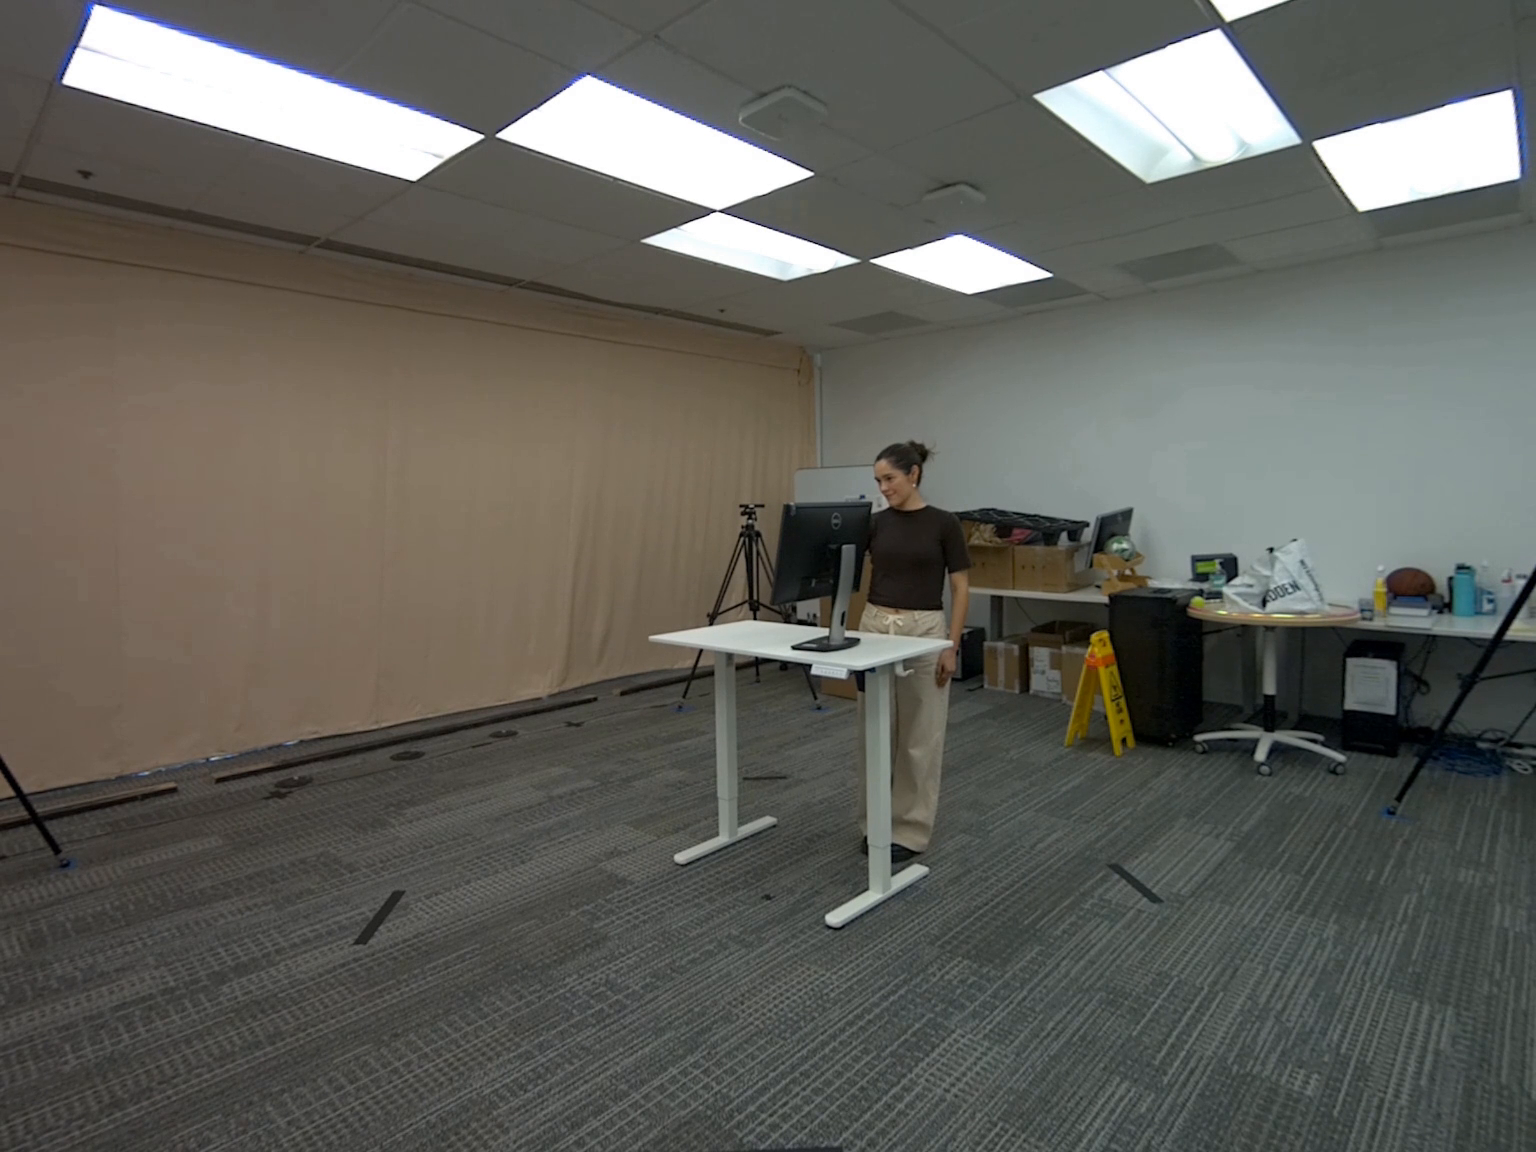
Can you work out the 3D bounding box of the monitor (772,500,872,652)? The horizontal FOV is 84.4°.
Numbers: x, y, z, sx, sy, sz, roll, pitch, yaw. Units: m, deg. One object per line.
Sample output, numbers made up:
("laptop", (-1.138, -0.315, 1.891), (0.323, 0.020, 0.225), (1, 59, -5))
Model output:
("monitor", (0.227, -0.001, 2.992), (0.193, 0.521, 0.523), (1, 5, 39))
